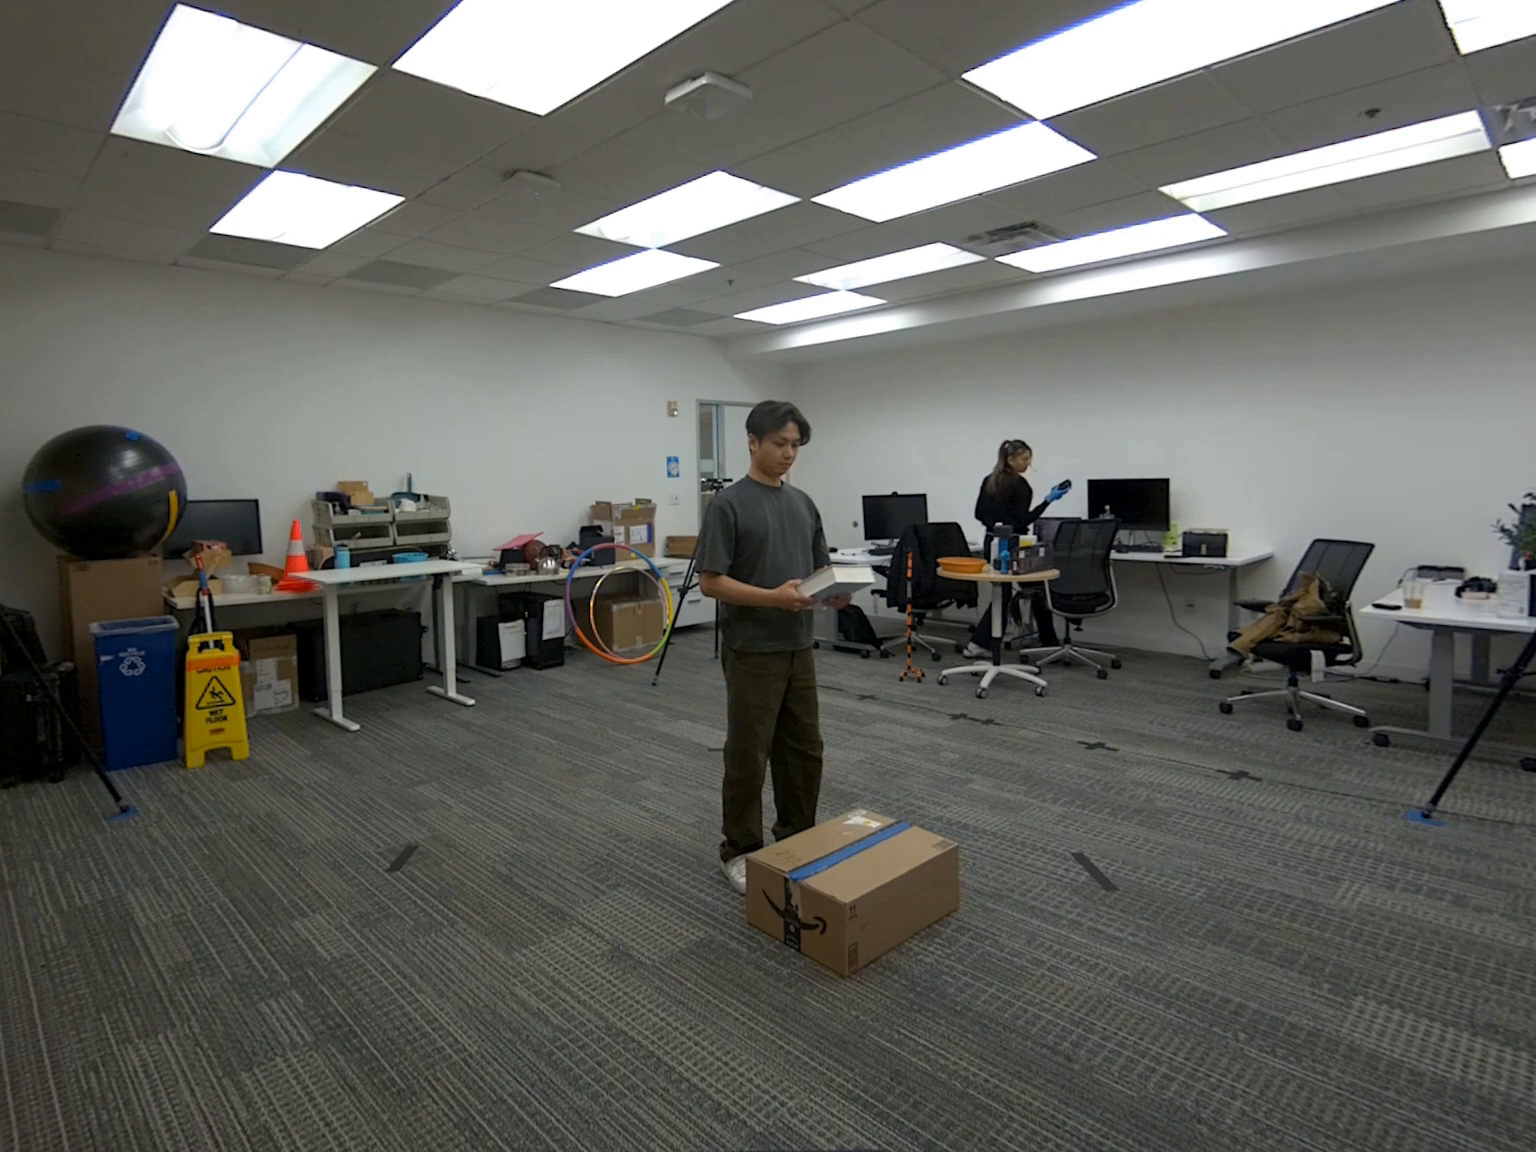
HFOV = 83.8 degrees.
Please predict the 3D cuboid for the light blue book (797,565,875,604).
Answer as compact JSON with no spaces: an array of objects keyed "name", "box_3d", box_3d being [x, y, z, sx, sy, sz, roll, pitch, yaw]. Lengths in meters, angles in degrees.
[{"name":"light blue book","box_3d":[0.187,0.039,2.802,0.186,0.060,0.264,0,-20,-42]}]
